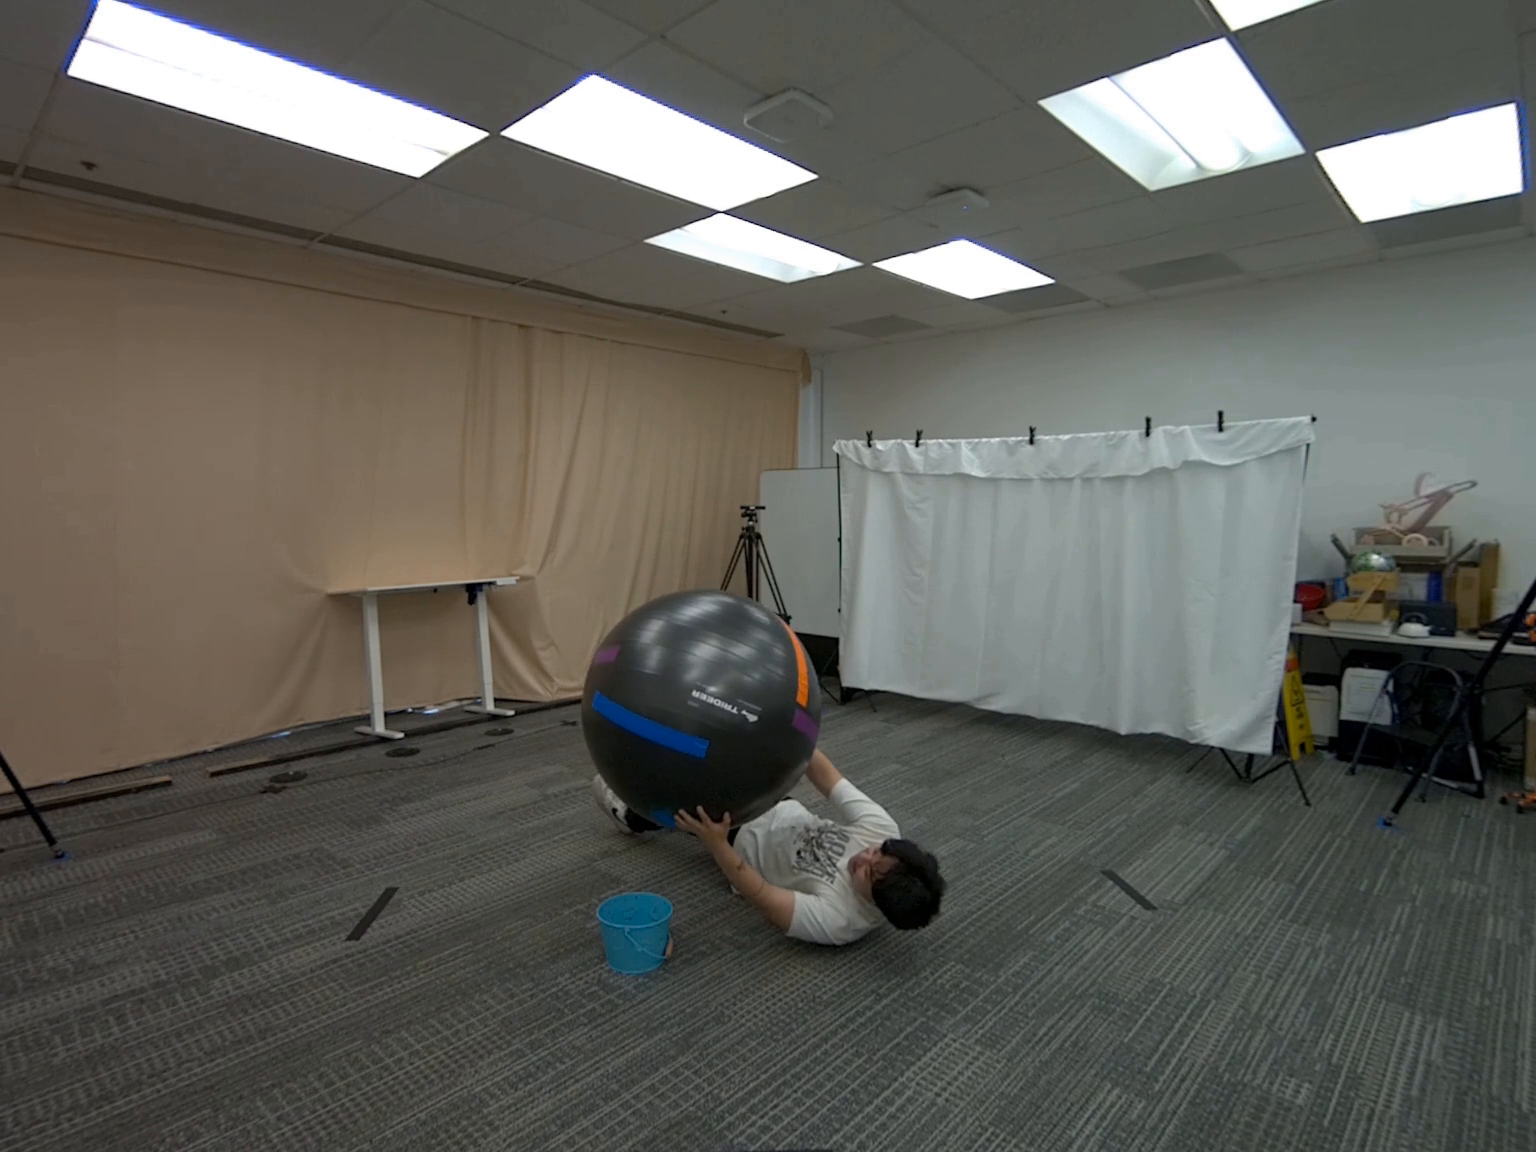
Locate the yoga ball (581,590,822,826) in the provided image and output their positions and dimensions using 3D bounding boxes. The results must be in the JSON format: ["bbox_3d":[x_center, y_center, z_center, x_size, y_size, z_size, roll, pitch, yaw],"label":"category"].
[{"bbox_3d":[-0.213,0.421,2.694,0.757,0.756,0.761,0,4,-2],"label":"yoga ball"}]
